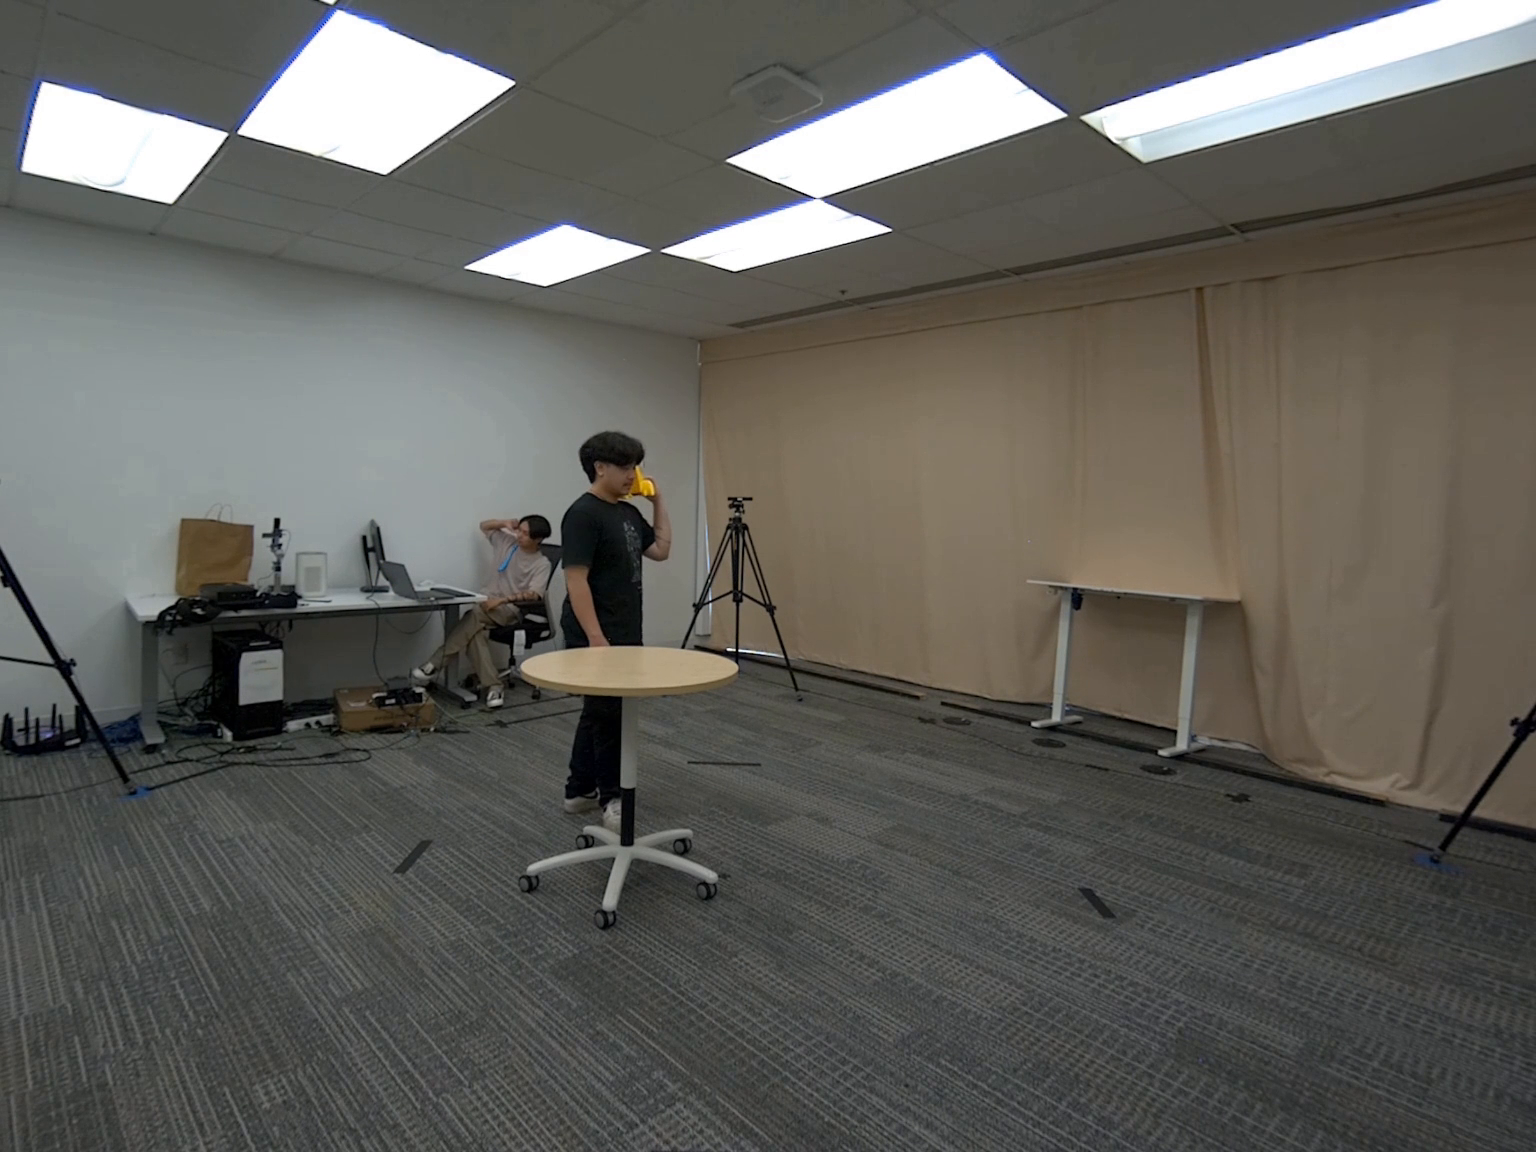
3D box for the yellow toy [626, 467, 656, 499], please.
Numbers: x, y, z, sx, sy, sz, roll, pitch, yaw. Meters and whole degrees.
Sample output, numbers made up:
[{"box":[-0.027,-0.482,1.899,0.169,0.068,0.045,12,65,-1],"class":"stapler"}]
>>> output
[{"box":[-0.629,-0.478,3.778,0.201,0.228,0.199,-14,21,-33],"class":"yellow toy"}]
